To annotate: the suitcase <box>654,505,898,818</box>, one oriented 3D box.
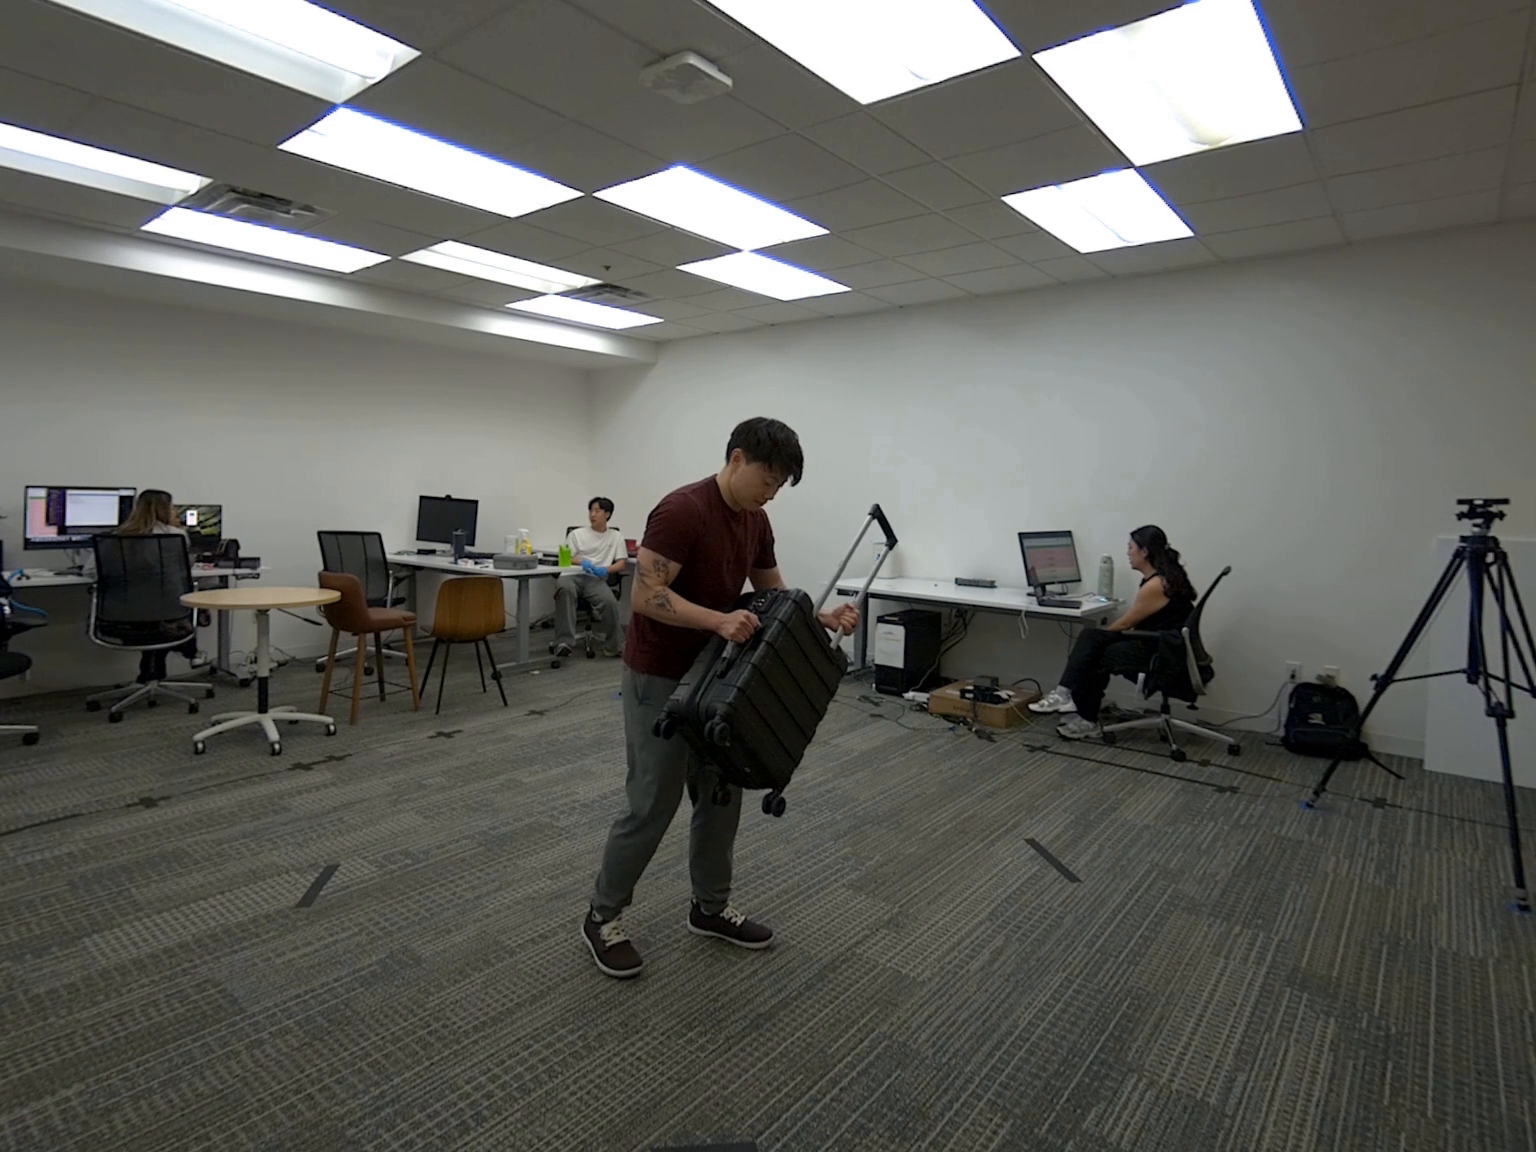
[{"bbox_3d":[0.066,0.173,2.495,0.264,0.372,0.984,-11,37,44],"label":"suitcase"}]
